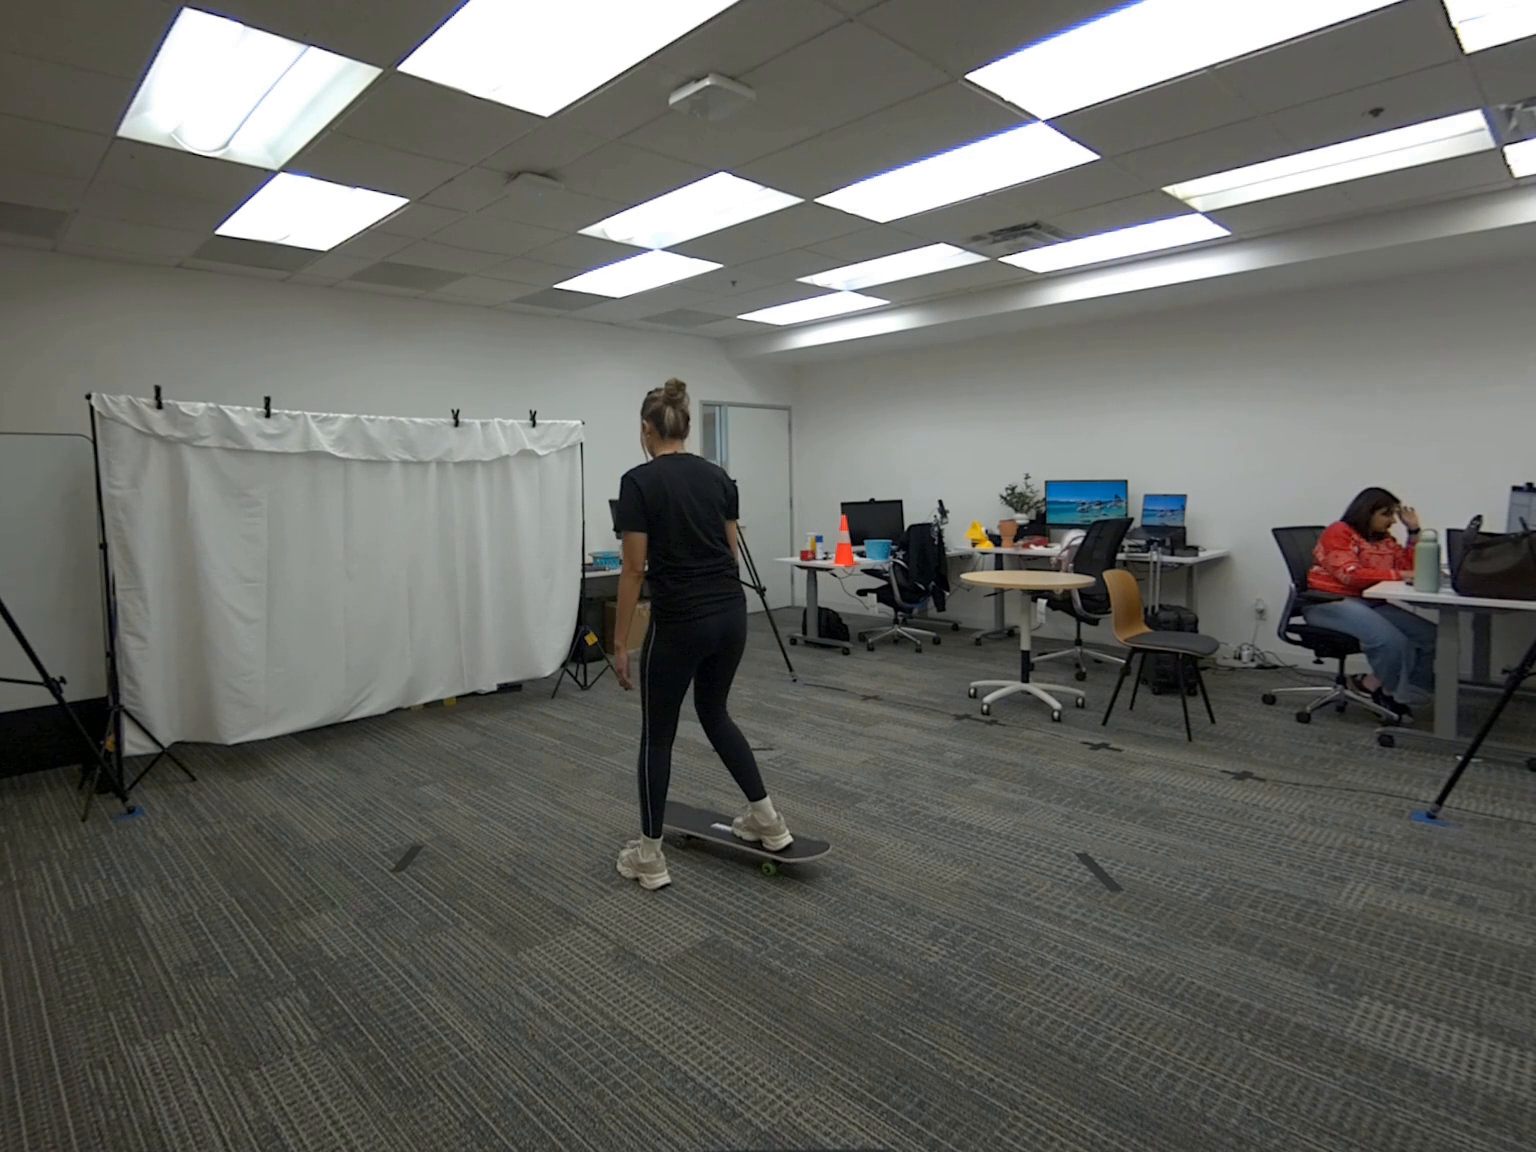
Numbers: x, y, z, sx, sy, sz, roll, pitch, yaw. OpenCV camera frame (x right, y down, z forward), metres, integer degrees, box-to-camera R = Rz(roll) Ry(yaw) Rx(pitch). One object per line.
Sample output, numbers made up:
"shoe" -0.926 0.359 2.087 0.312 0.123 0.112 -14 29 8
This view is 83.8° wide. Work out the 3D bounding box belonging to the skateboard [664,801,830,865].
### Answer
"skateboard" -0.134 0.985 3.196 0.808 0.110 0.189 4 8 35
